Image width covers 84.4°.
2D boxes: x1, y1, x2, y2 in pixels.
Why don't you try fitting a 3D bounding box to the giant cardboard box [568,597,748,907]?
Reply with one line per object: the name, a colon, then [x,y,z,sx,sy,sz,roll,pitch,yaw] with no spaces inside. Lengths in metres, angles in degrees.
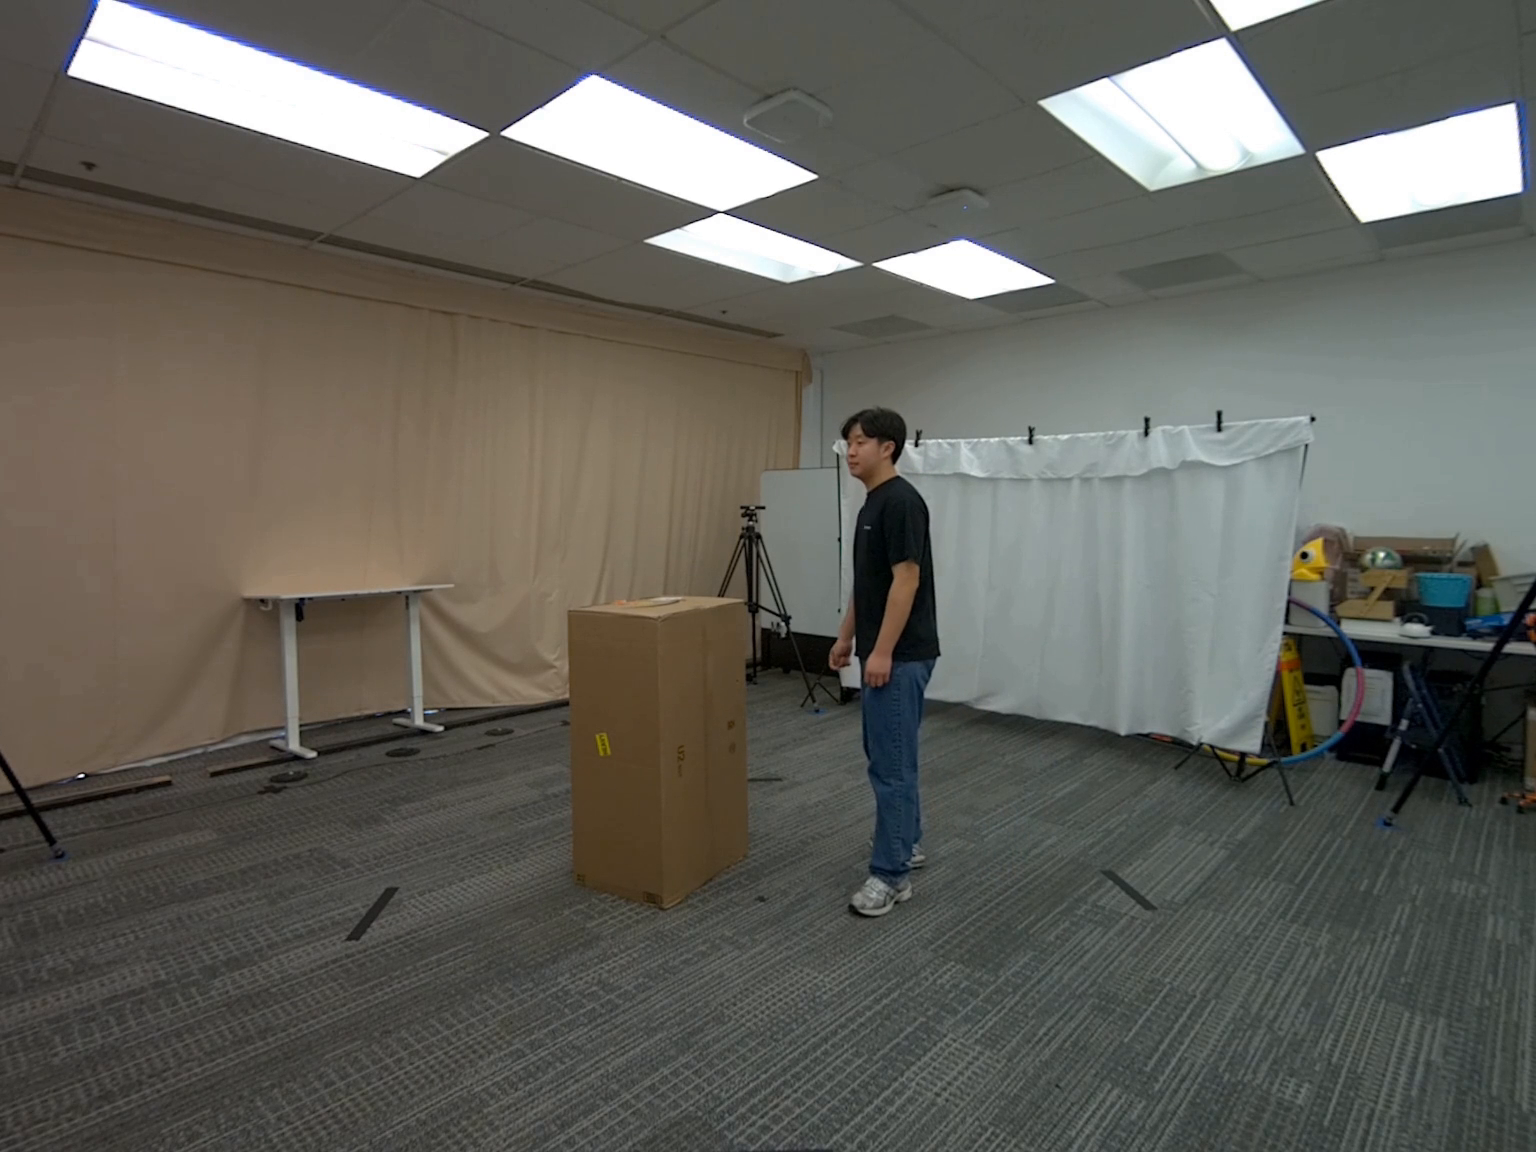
giant cardboard box: [-0.405,0.617,3.232,0.460,1.025,0.567,1,3,33]
